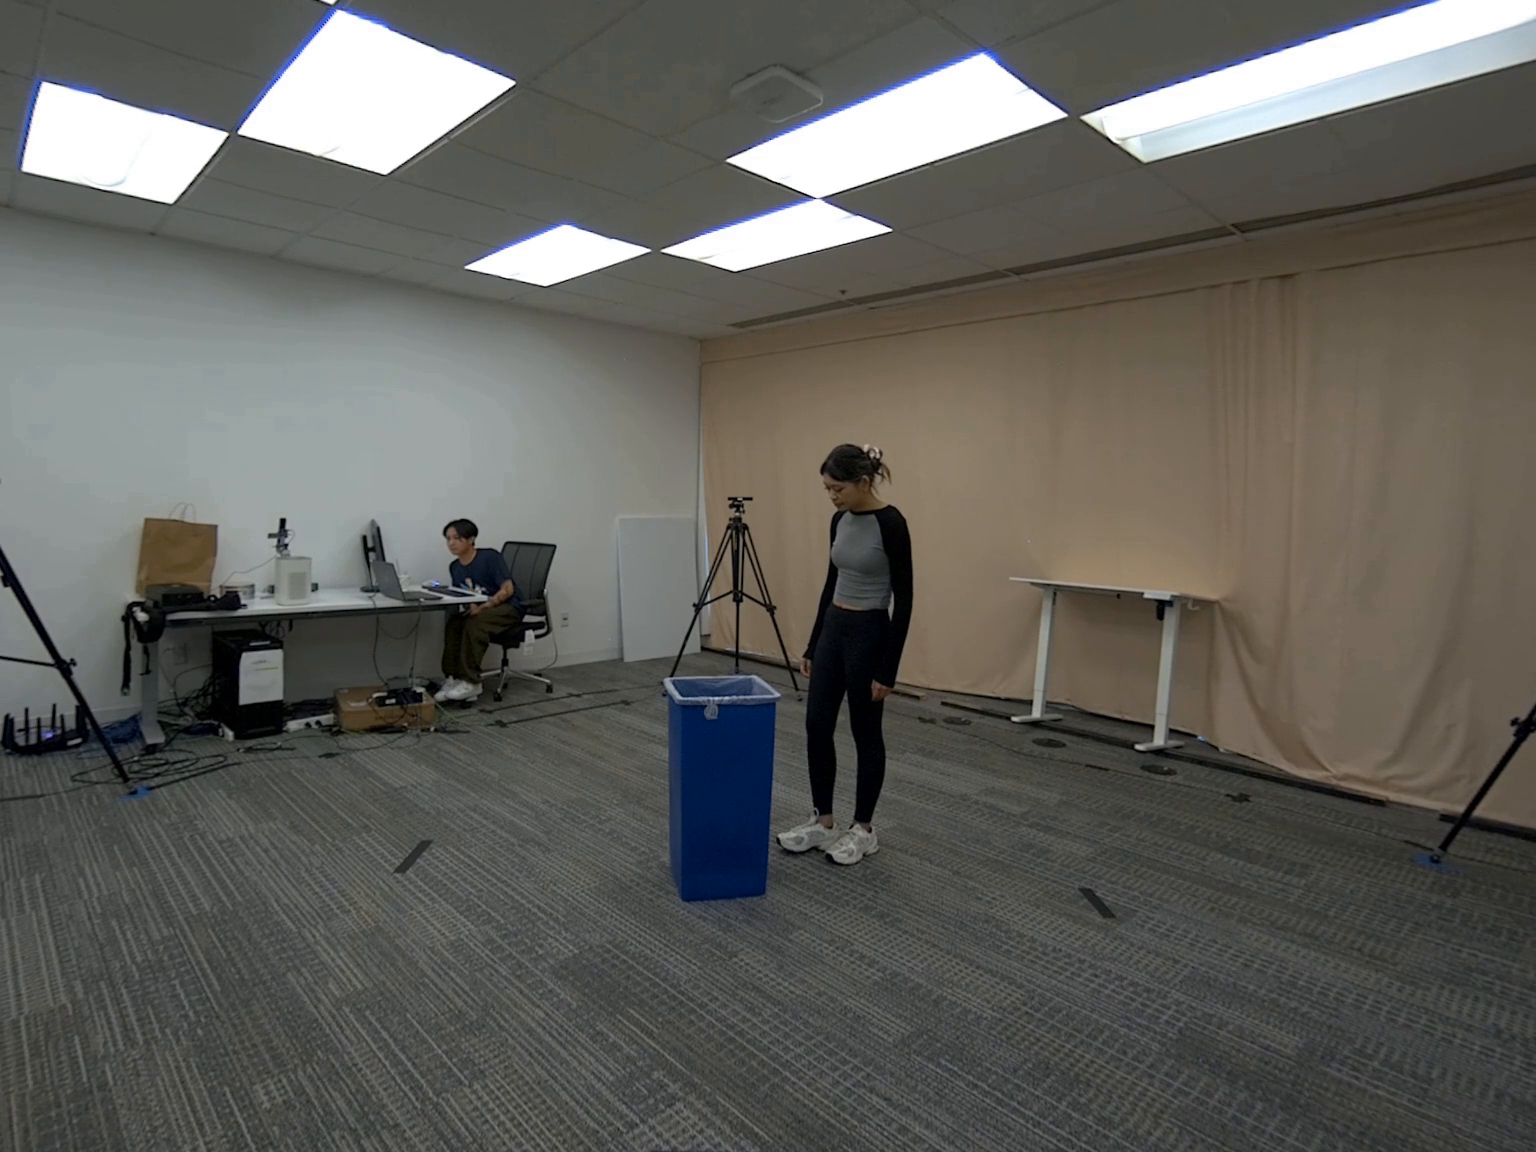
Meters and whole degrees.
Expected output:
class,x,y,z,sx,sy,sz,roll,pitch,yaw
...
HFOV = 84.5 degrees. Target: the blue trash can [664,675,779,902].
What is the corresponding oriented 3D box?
class,x,y,z,sx,sy,sz,roll,pitch,yaw
blue trash can,-0.180,0.754,3.059,0.370,0.712,0.383,1,3,-15
